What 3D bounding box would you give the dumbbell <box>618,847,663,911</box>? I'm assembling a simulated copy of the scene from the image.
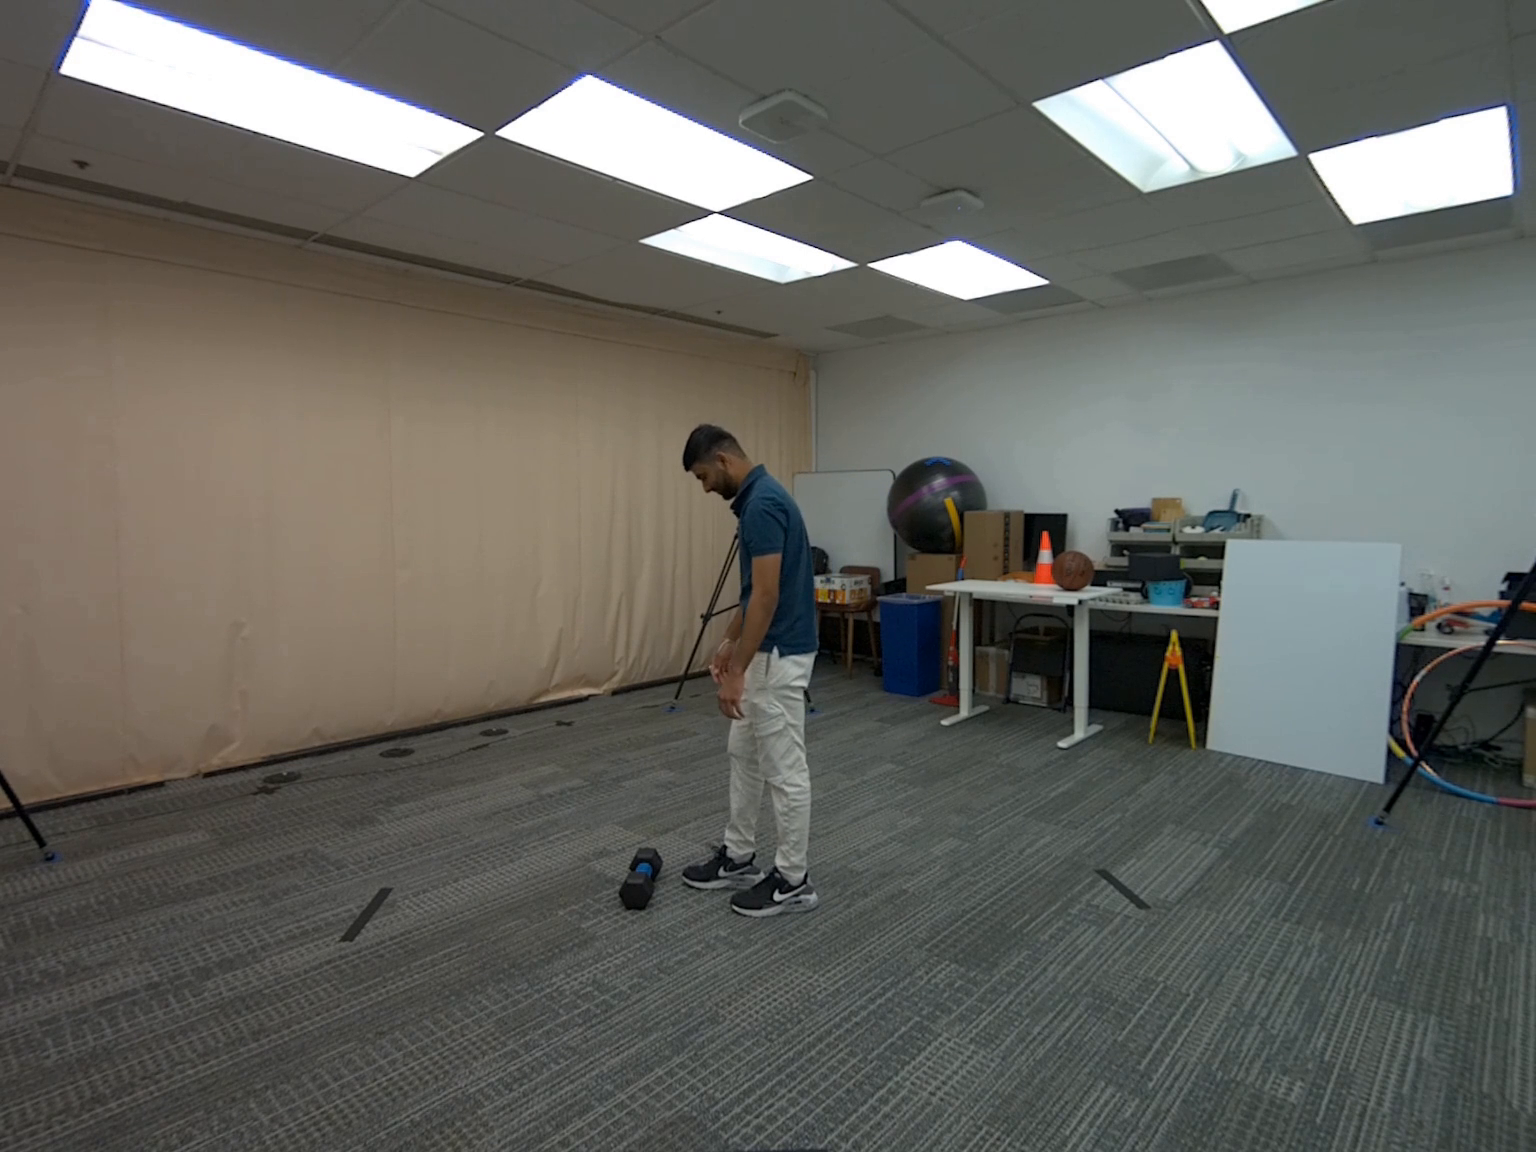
[{"bbox_3d":[-0.452,1.093,3.042,0.109,0.122,0.294,-30,4,2],"label":"dumbbell"}]
